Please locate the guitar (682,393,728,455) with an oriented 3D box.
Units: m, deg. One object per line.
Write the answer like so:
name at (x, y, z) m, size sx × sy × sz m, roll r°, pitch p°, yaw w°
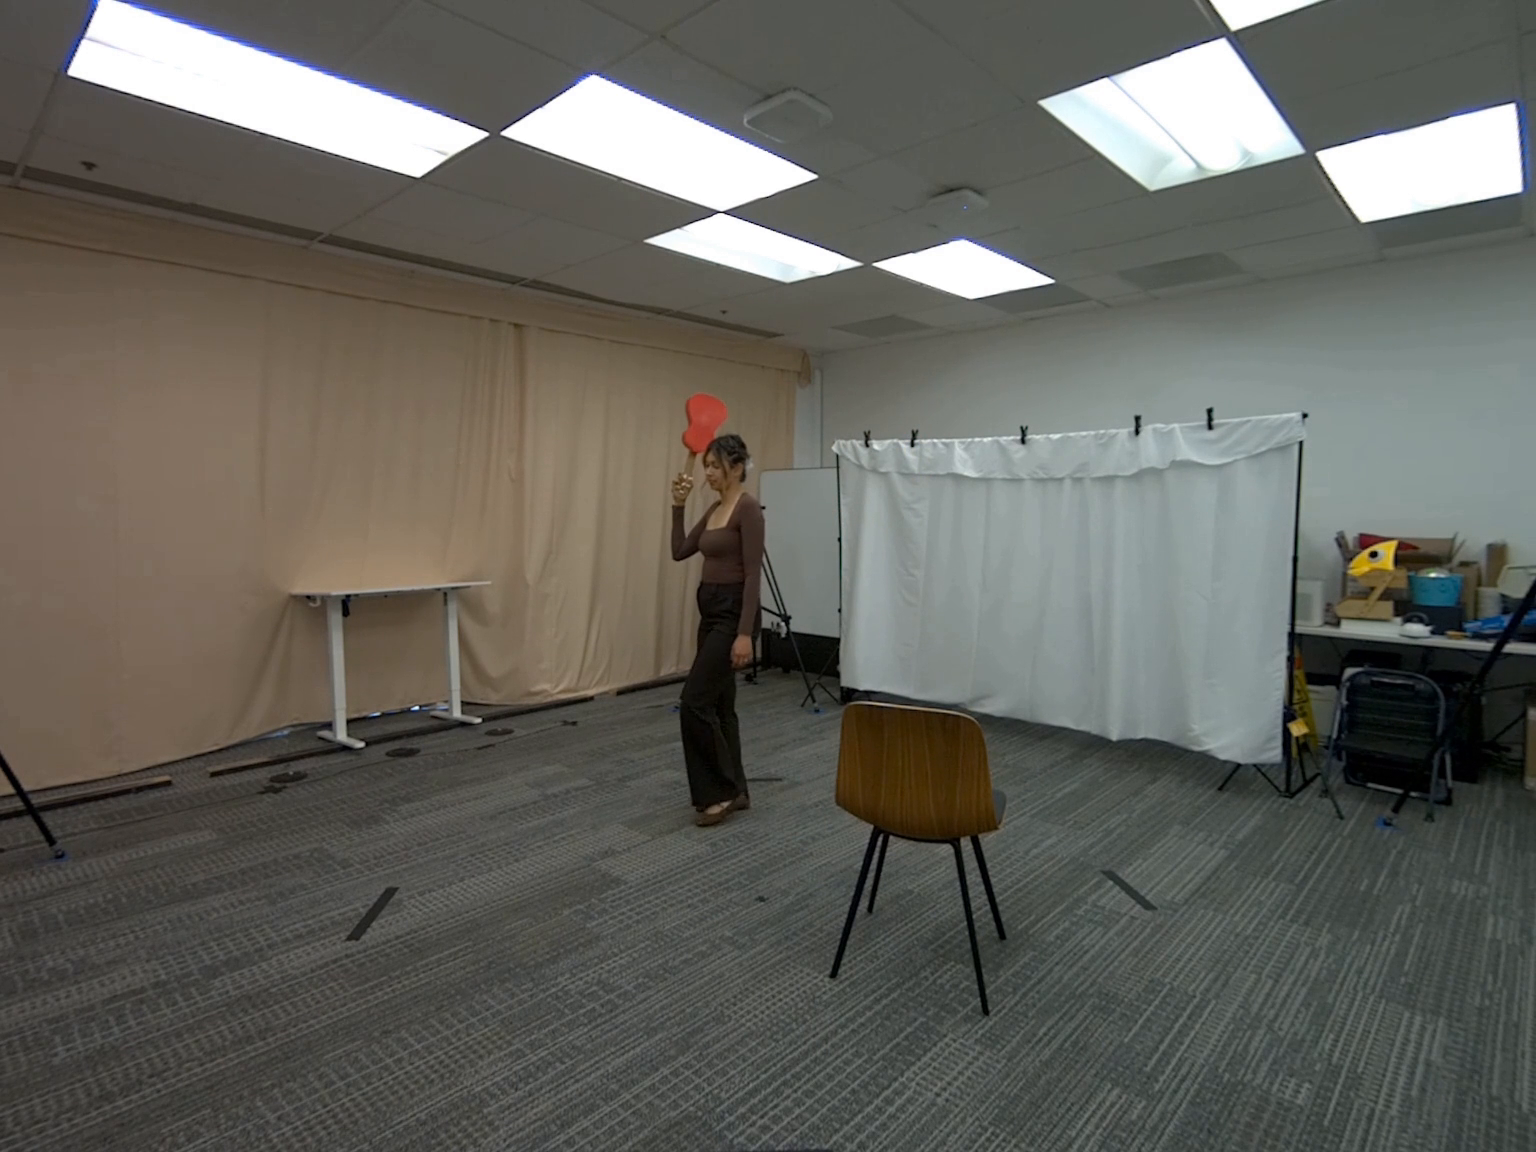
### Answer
guitar at (-0.313, -0.599, 3.966) m, size 0.189 × 0.499 × 0.072 m, roll 7°, pitch -4°, yaw -20°
